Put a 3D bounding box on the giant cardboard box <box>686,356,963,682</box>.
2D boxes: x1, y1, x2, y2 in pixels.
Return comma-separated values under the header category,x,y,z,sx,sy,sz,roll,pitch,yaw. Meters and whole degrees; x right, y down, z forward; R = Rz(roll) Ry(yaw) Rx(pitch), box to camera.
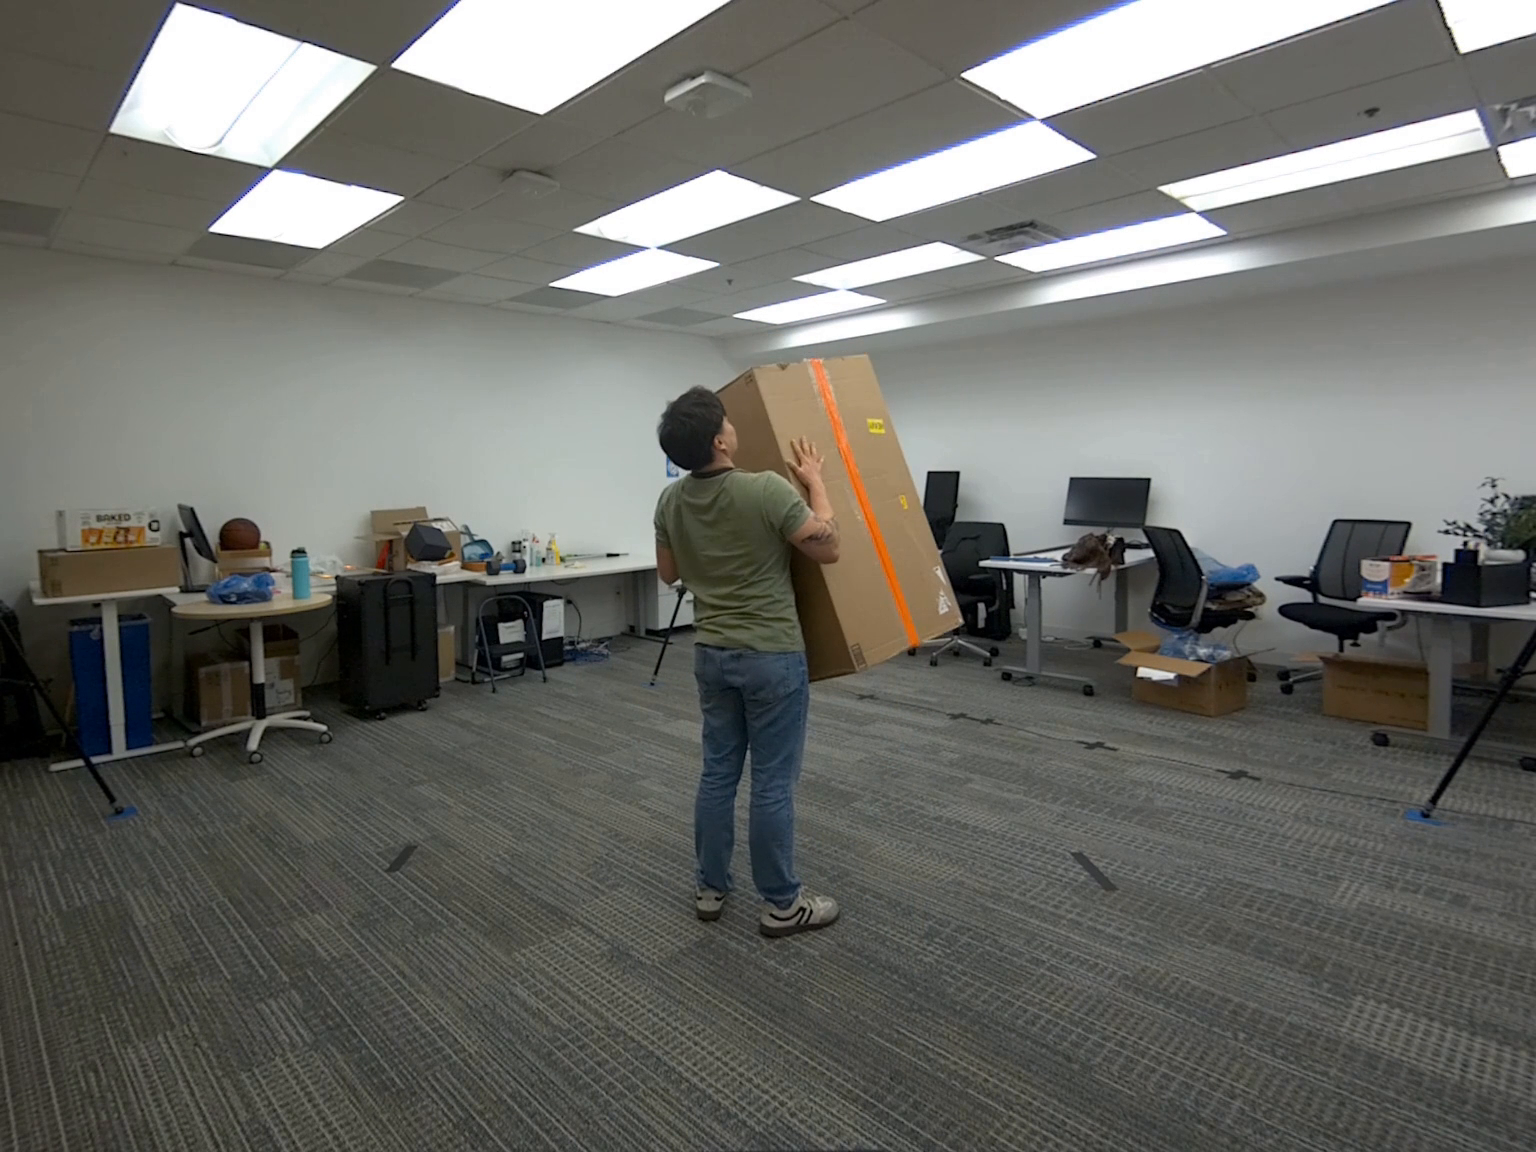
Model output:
category,x,y,z,sx,sy,sz,roll,pitch,yaw
giant cardboard box,0.190,-0.208,3.018,0.566,1.031,0.433,-16,-5,-40
